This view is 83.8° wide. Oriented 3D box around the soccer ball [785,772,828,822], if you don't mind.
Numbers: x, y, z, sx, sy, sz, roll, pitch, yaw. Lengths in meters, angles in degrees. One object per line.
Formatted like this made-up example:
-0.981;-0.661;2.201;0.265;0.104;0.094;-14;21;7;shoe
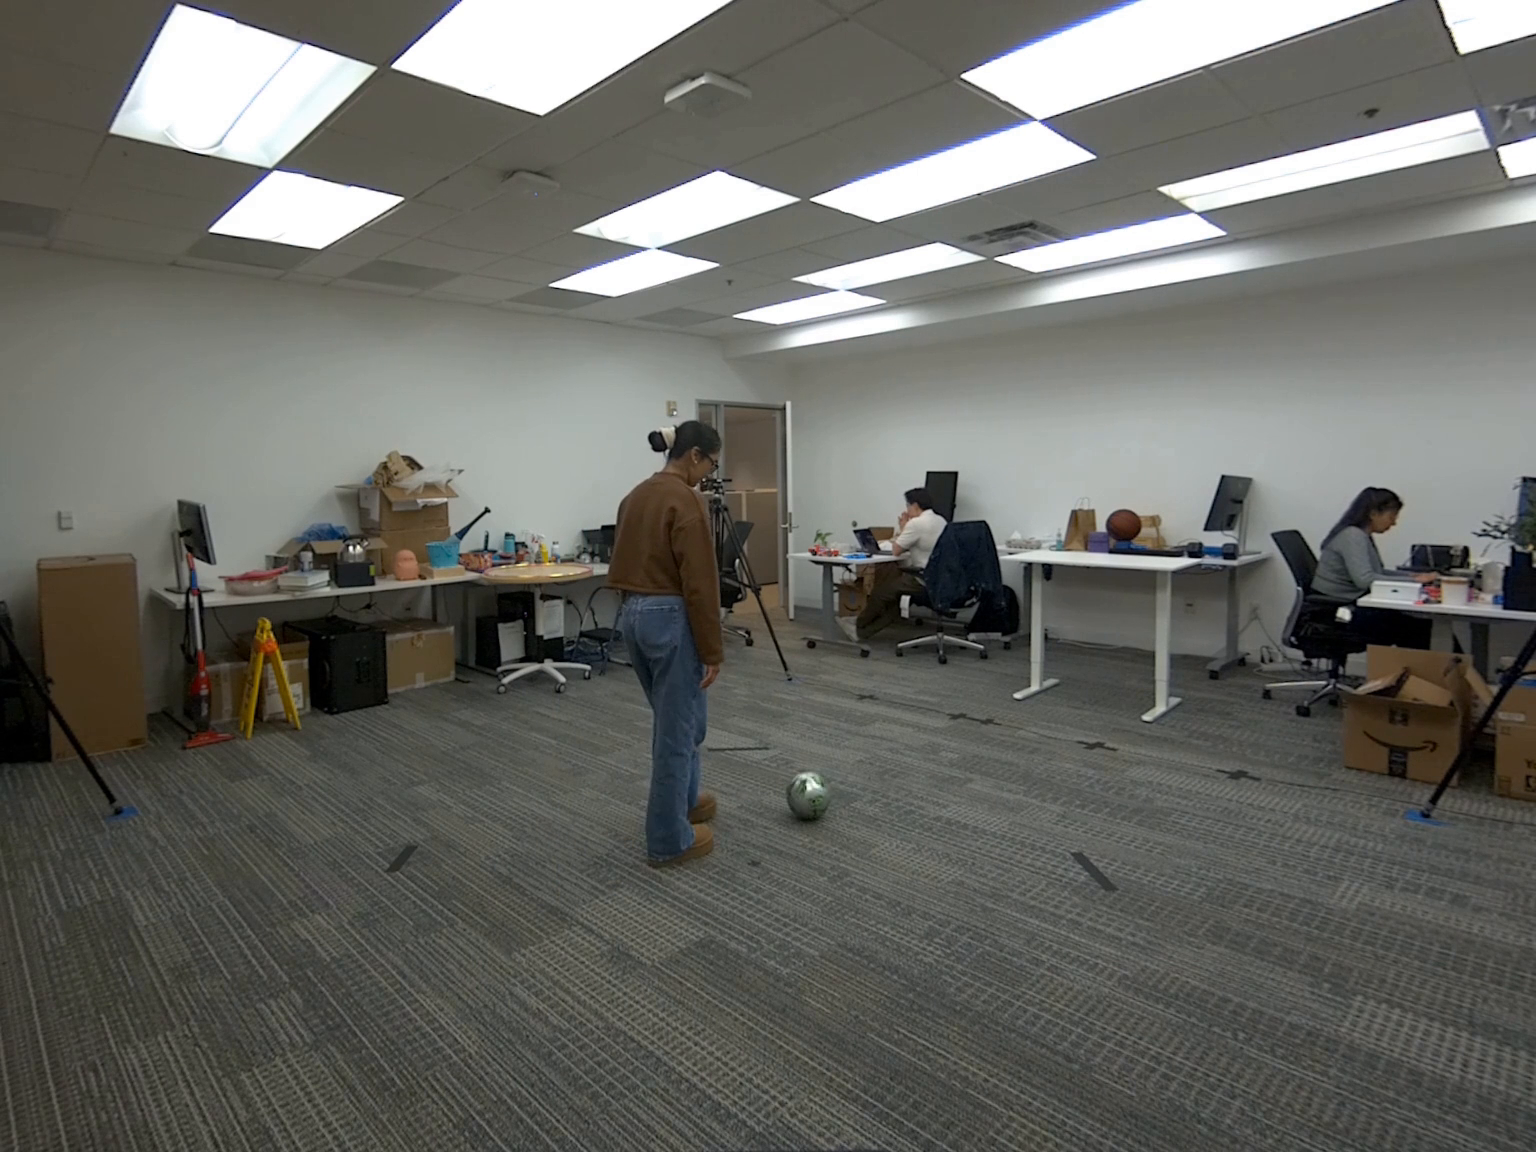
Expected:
0.166;0.897;3.506;0.187;0.187;0.188;-1;5;-2;soccer ball
